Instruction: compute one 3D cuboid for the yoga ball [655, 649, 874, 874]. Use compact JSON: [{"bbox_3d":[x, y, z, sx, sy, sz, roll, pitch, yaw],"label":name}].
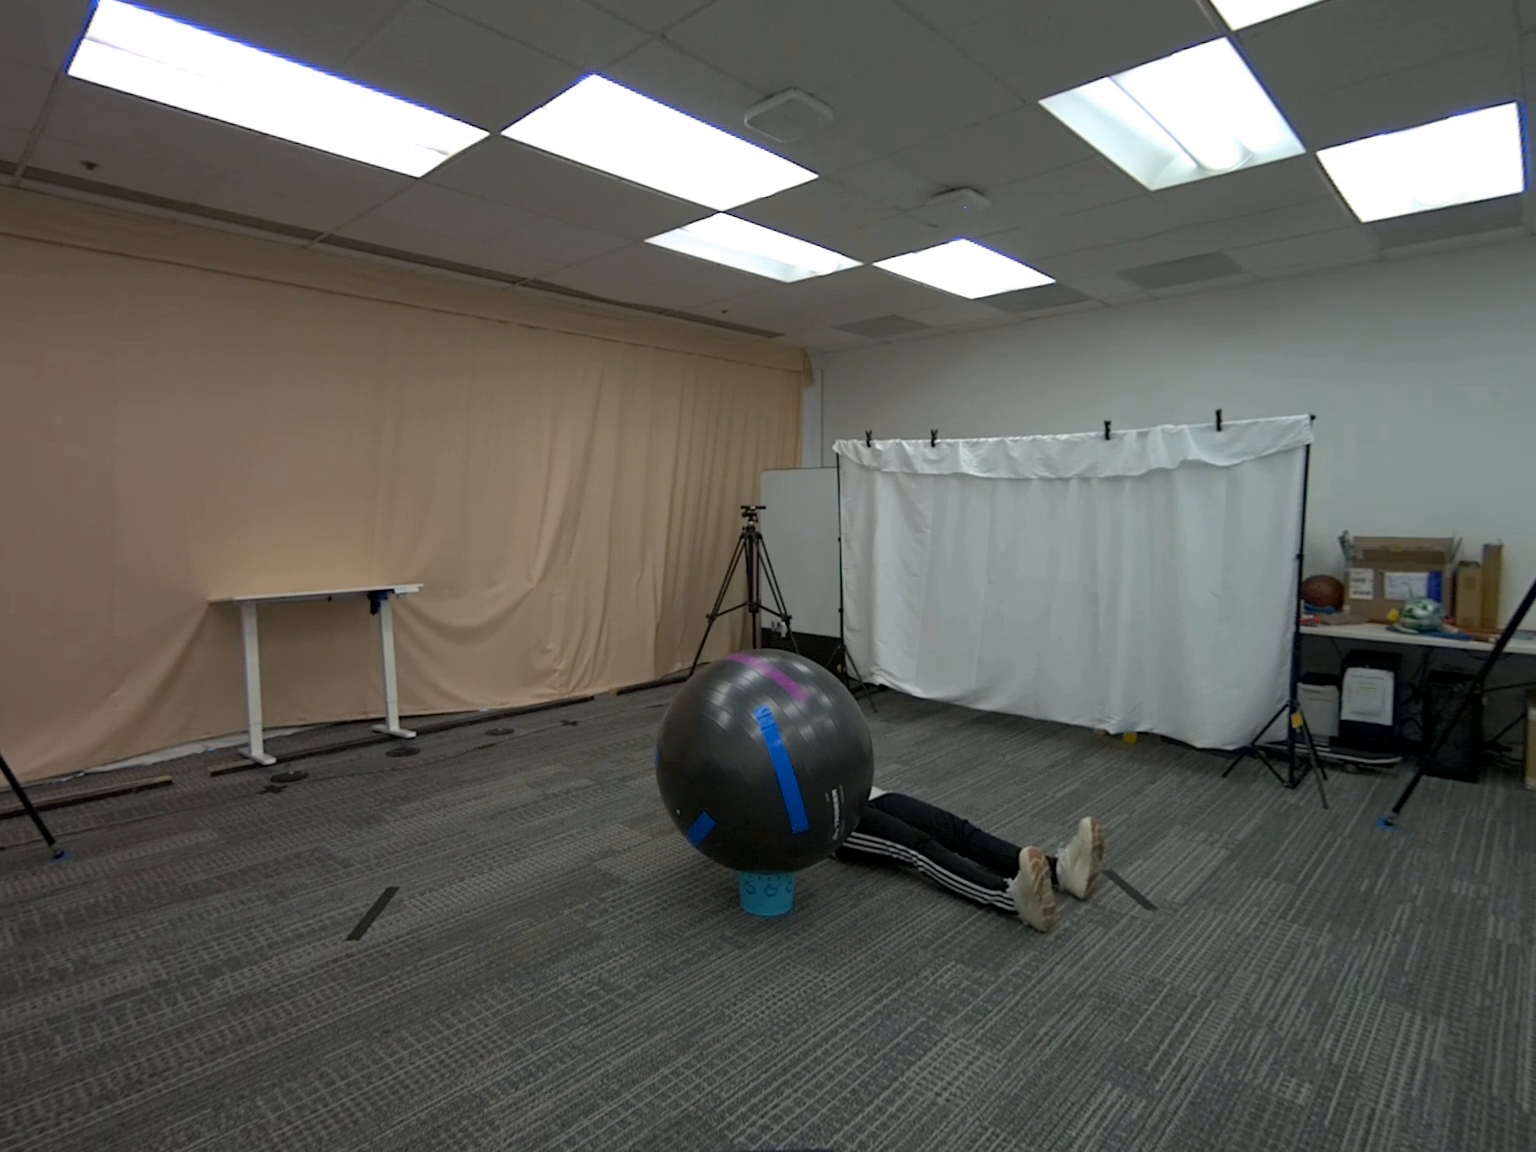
[{"bbox_3d":[-0.007,0.635,2.932,0.757,0.756,0.760,0,4,-2],"label":"yoga ball"}]
